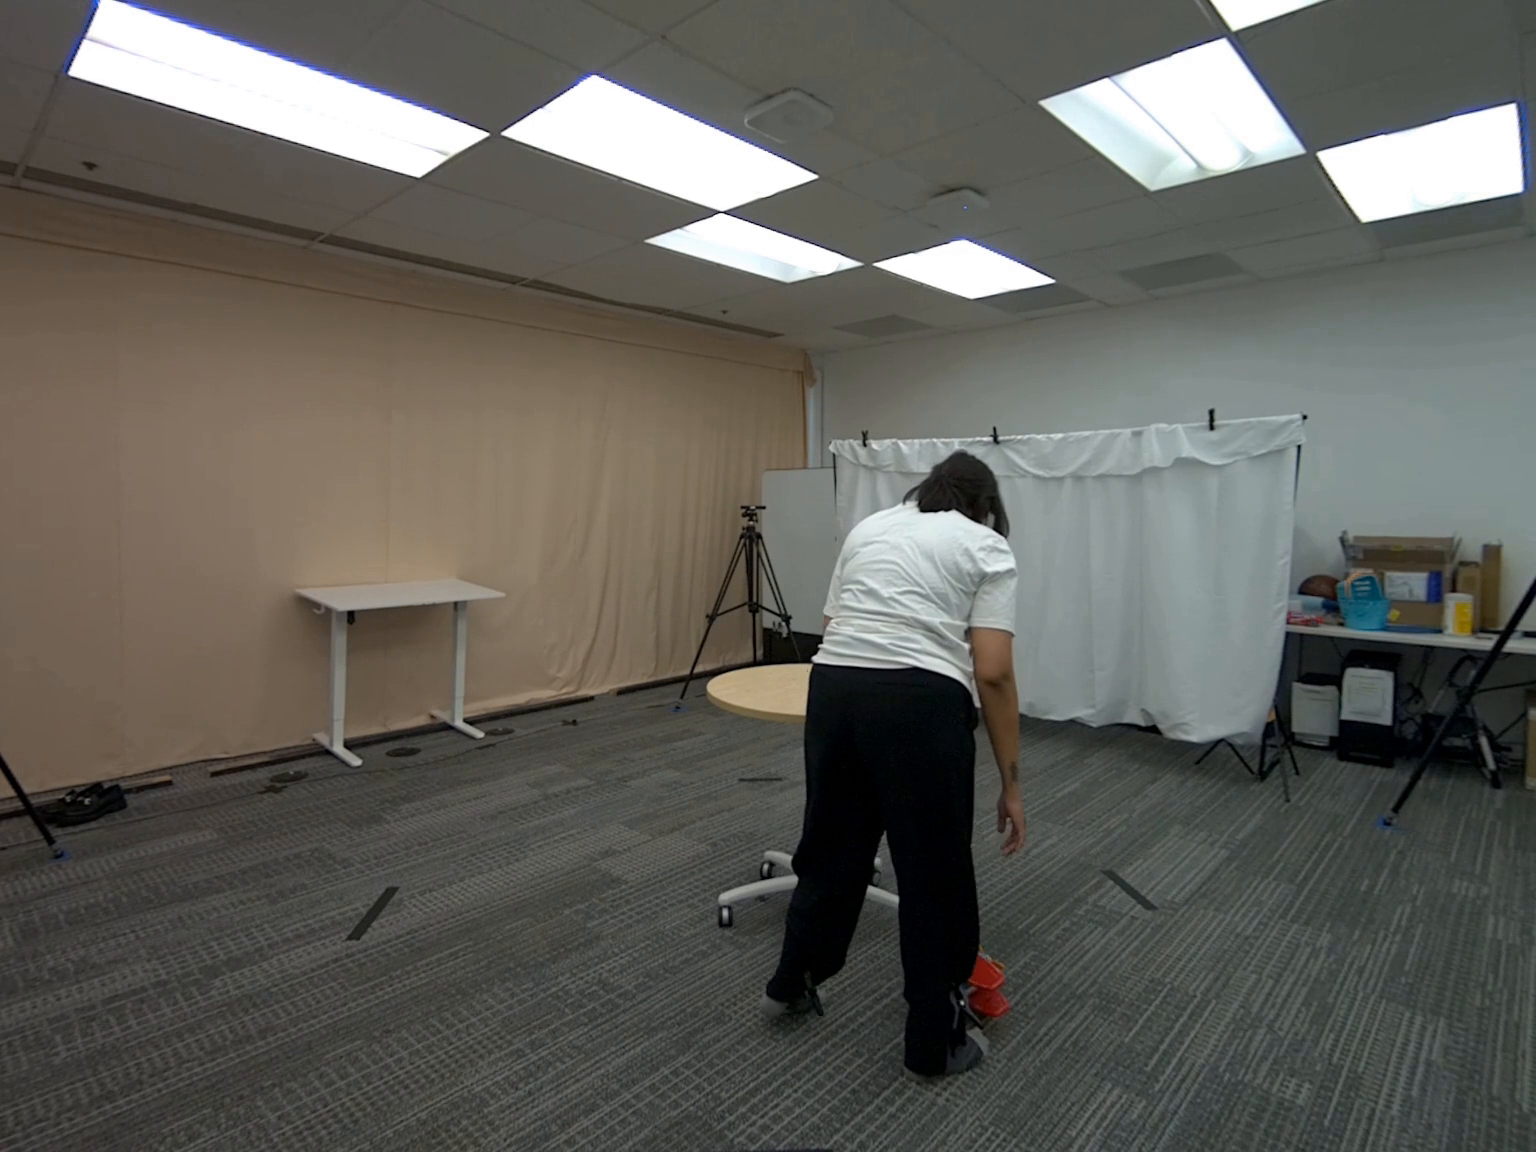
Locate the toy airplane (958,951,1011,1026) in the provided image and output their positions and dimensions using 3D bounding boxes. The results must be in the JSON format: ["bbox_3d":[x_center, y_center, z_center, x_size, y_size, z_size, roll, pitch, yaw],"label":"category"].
[{"bbox_3d":[0.534,1.134,2.282,0.259,0.156,0.251,5,4,34],"label":"toy airplane"}]
